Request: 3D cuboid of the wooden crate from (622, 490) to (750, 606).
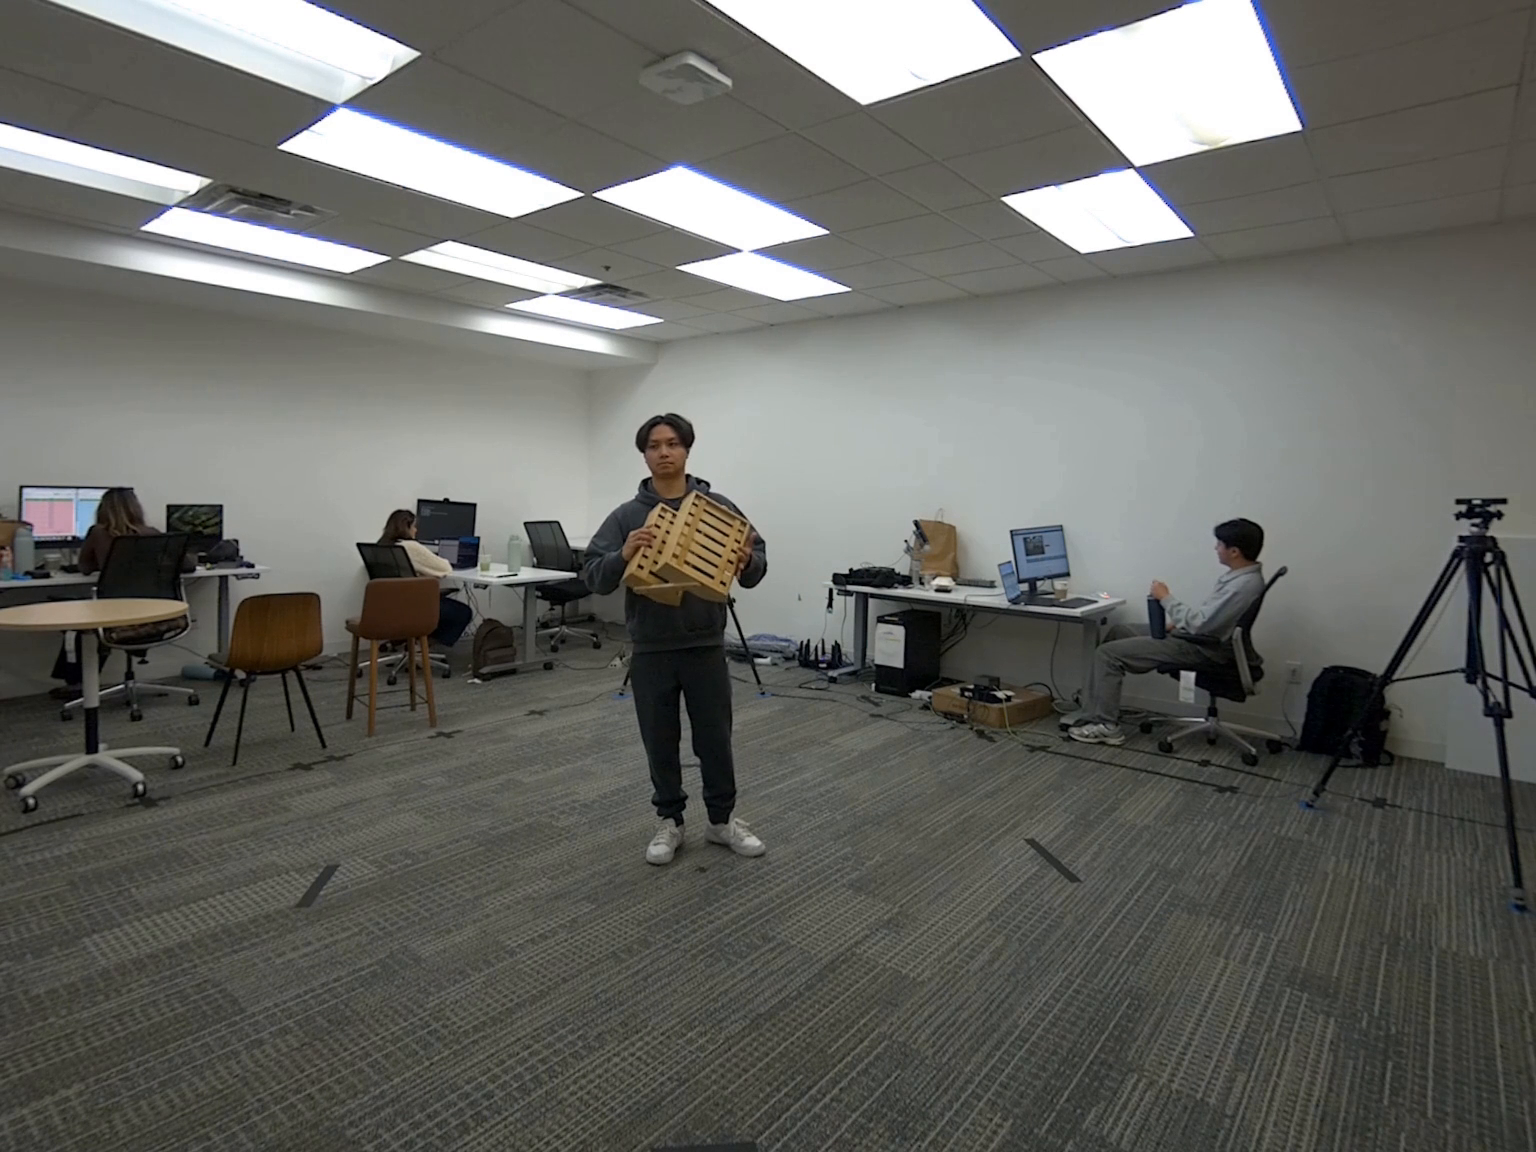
[{"bbox_3d":[-0.282,-0.078,2.897,0.295,0.329,0.276,30,-34,-18],"label":"wooden crate"}]
